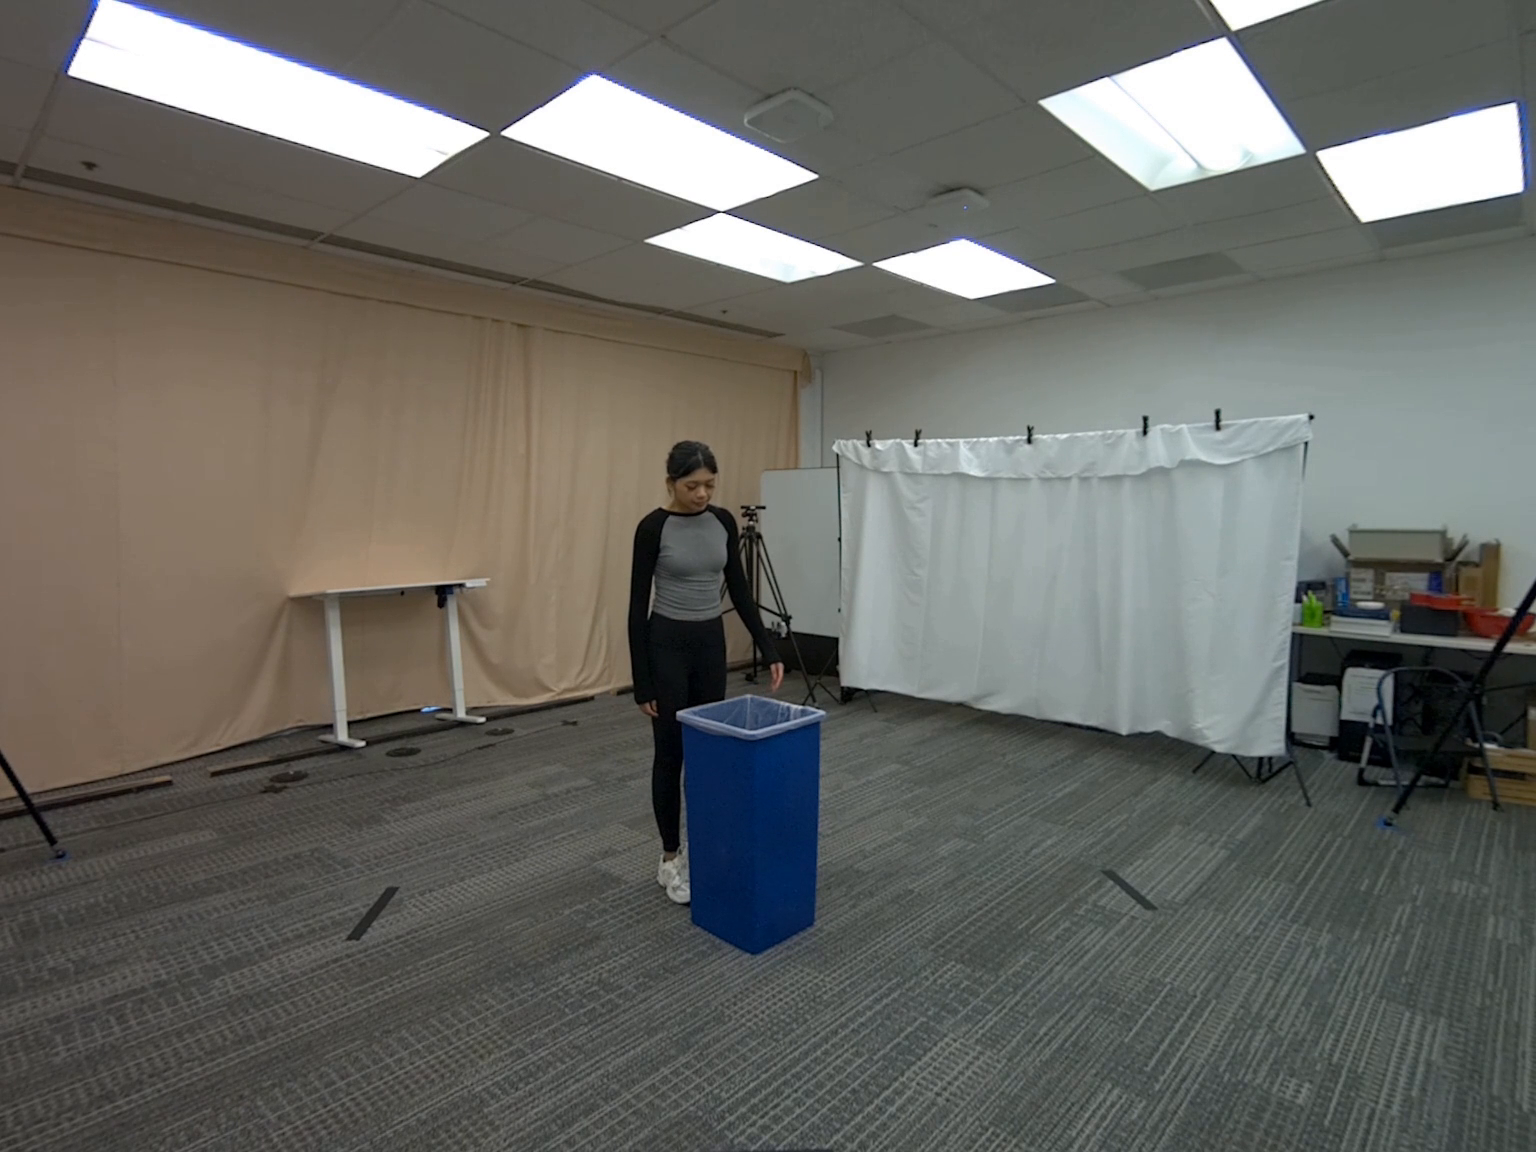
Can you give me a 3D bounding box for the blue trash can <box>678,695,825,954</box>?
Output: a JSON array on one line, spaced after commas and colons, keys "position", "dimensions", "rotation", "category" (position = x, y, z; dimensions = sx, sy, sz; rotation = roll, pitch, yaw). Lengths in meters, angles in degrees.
[{"position": [-0.049, 0.804, 2.783], "dimensions": [0.390, 0.712, 0.362], "rotation": [3, 4, 44], "category": "blue trash can"}]
